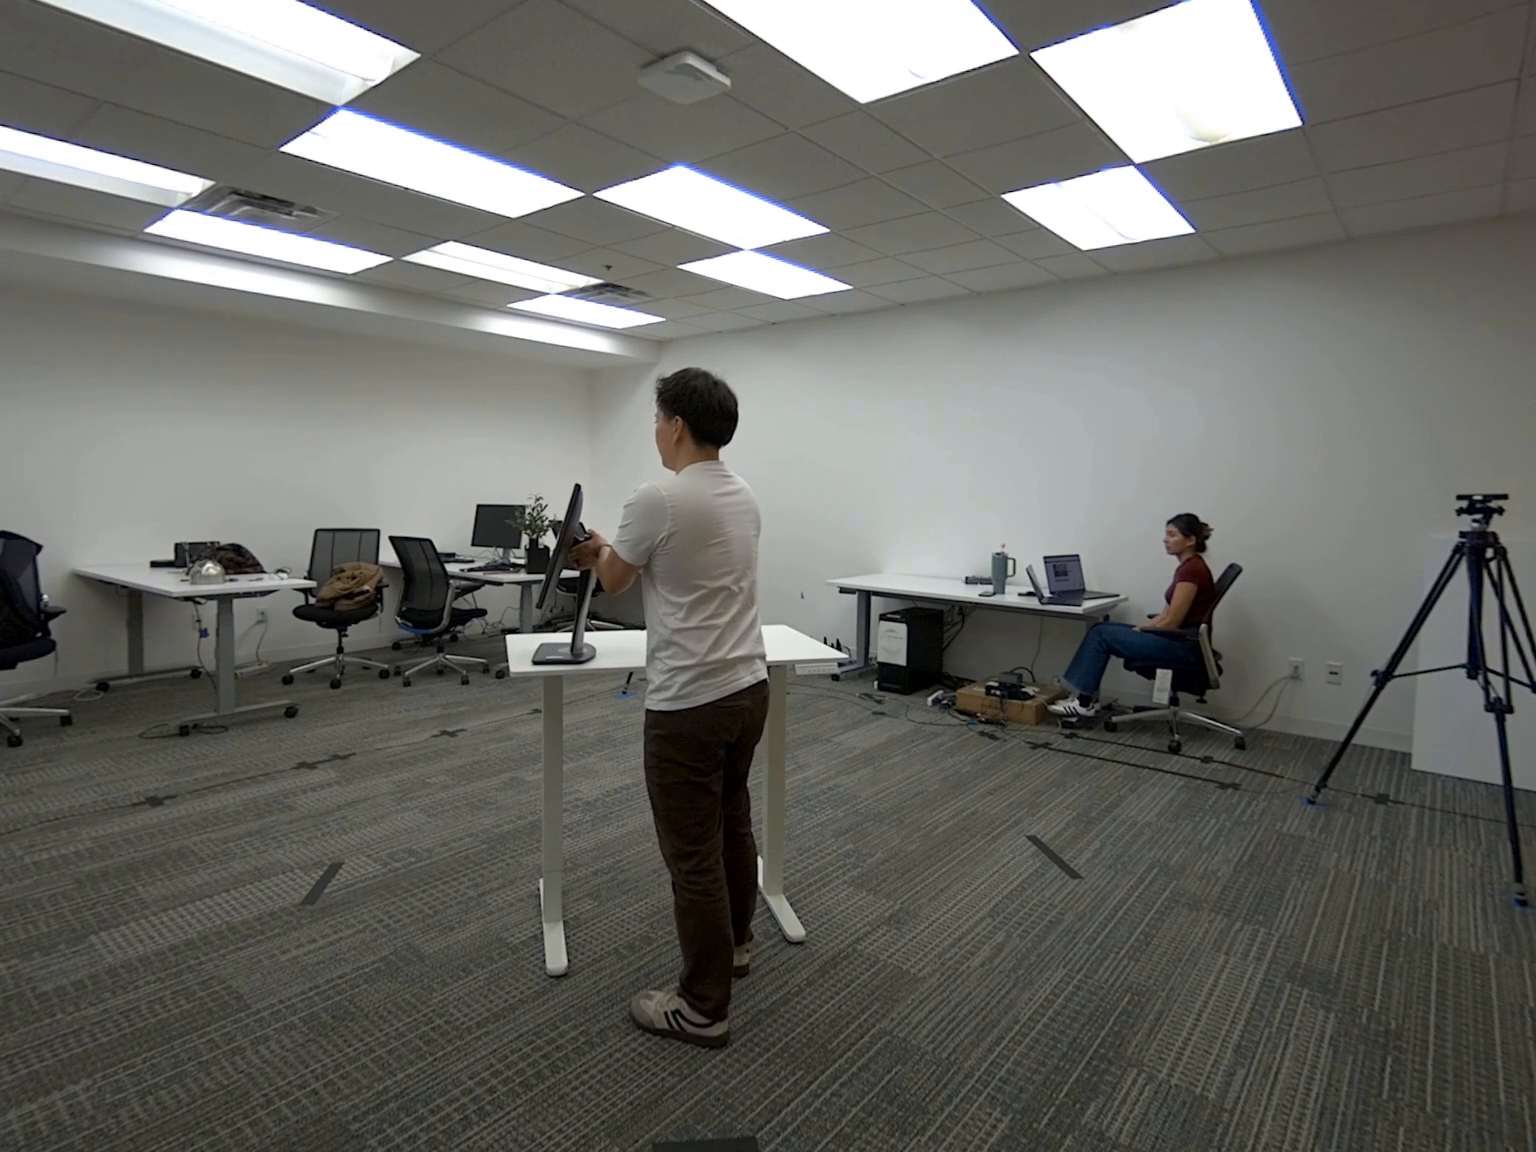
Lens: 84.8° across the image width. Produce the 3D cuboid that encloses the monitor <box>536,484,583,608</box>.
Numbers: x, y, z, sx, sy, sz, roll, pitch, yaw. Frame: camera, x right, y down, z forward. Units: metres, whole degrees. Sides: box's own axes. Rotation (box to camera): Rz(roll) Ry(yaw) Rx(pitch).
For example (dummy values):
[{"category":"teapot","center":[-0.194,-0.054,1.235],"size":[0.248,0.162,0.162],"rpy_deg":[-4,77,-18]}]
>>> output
[{"category":"monitor","center":[-0.606,-0.014,2.536],"size":[0.184,0.521,0.548],"rpy_deg":[4,3,-14]}]
